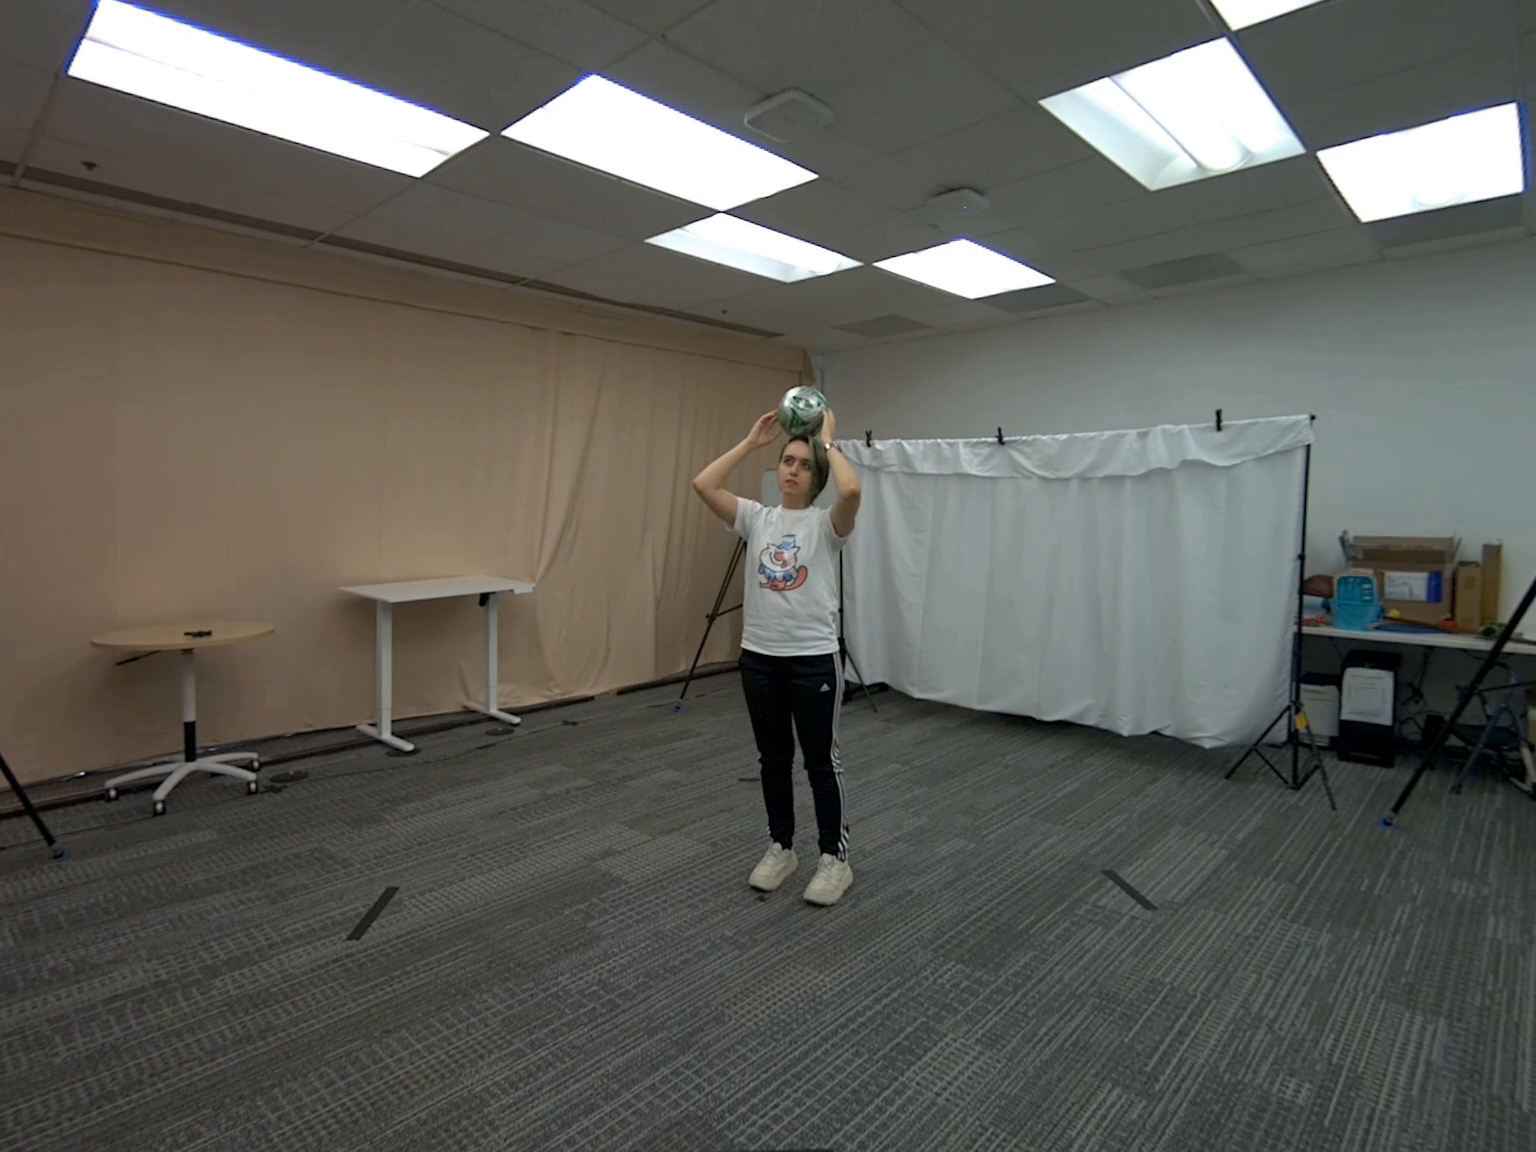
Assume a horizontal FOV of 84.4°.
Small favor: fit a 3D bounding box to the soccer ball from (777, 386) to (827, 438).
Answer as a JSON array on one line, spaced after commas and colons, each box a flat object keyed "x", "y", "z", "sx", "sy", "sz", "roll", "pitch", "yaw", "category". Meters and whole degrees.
[{"x": 0.129, "y": -0.584, "z": 3.023, "sx": 0.187, "sy": 0.187, "sz": 0.188, "roll": 0, "pitch": 4, "yaw": -2, "category": "soccer ball"}]
